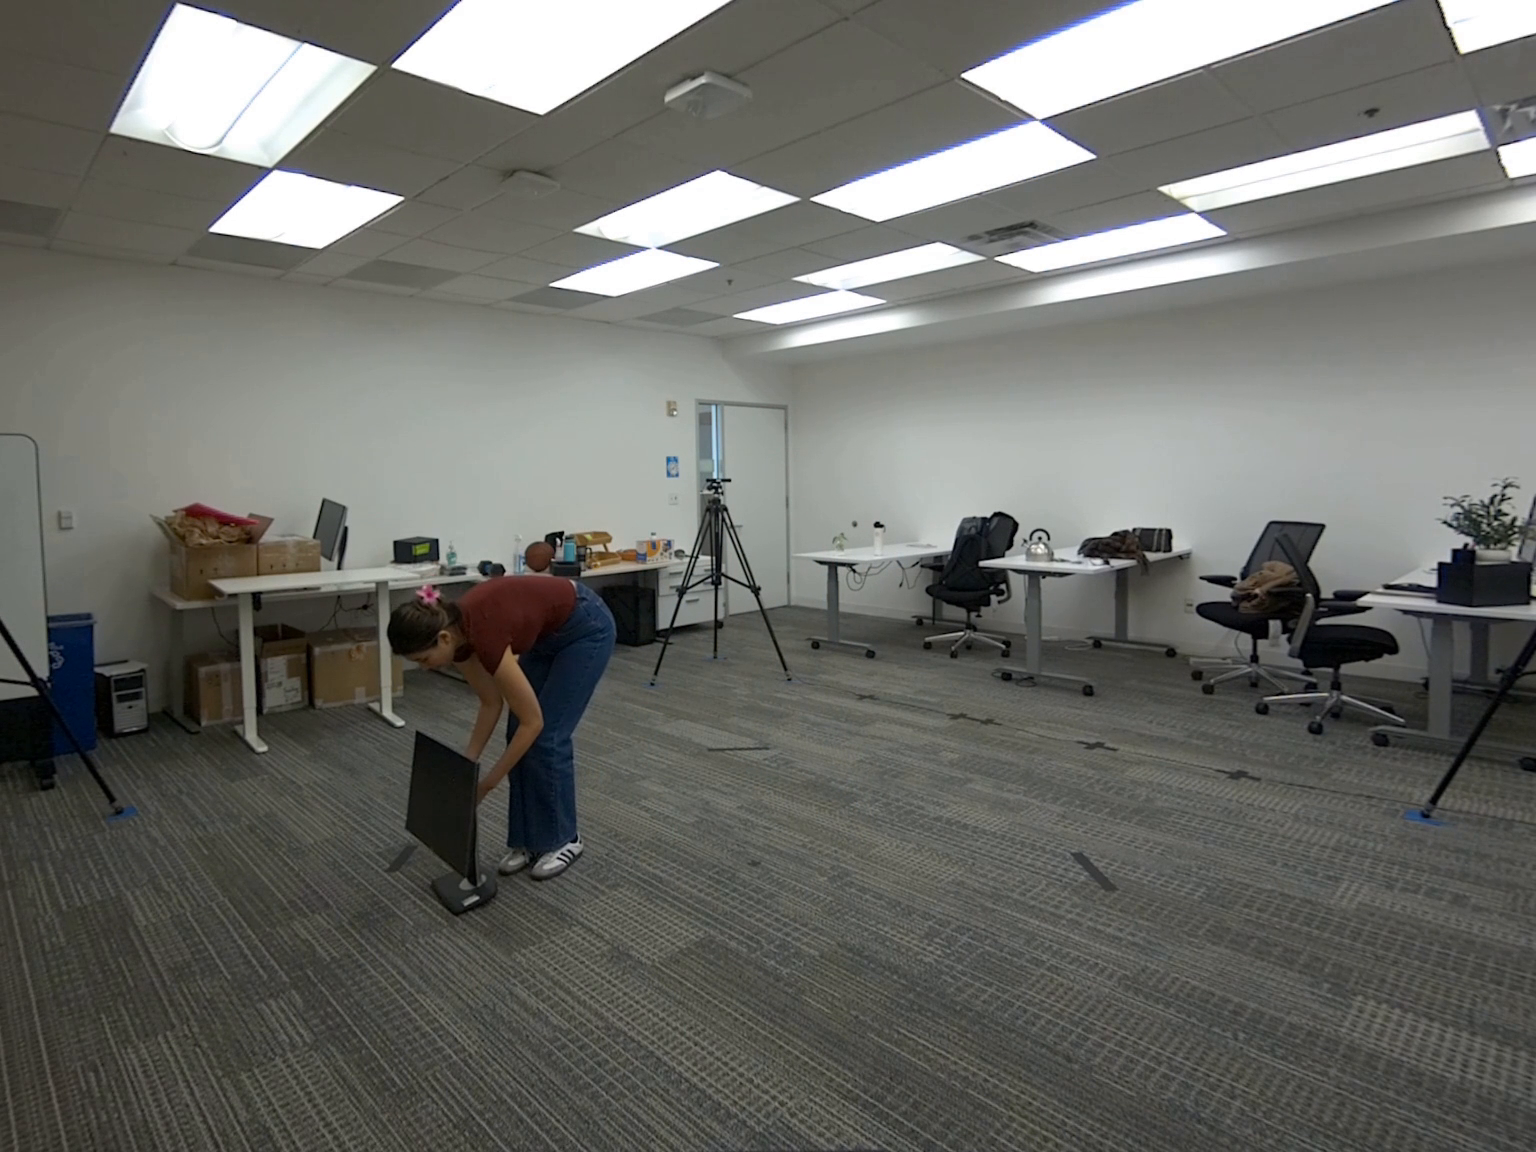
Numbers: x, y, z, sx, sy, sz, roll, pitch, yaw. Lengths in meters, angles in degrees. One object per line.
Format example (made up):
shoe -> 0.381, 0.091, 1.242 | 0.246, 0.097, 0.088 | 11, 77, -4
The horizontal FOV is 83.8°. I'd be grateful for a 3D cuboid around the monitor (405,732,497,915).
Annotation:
monitor -> -1.062, 0.825, 2.887 | 0.183, 0.518, 0.556 | -13, 11, -41
